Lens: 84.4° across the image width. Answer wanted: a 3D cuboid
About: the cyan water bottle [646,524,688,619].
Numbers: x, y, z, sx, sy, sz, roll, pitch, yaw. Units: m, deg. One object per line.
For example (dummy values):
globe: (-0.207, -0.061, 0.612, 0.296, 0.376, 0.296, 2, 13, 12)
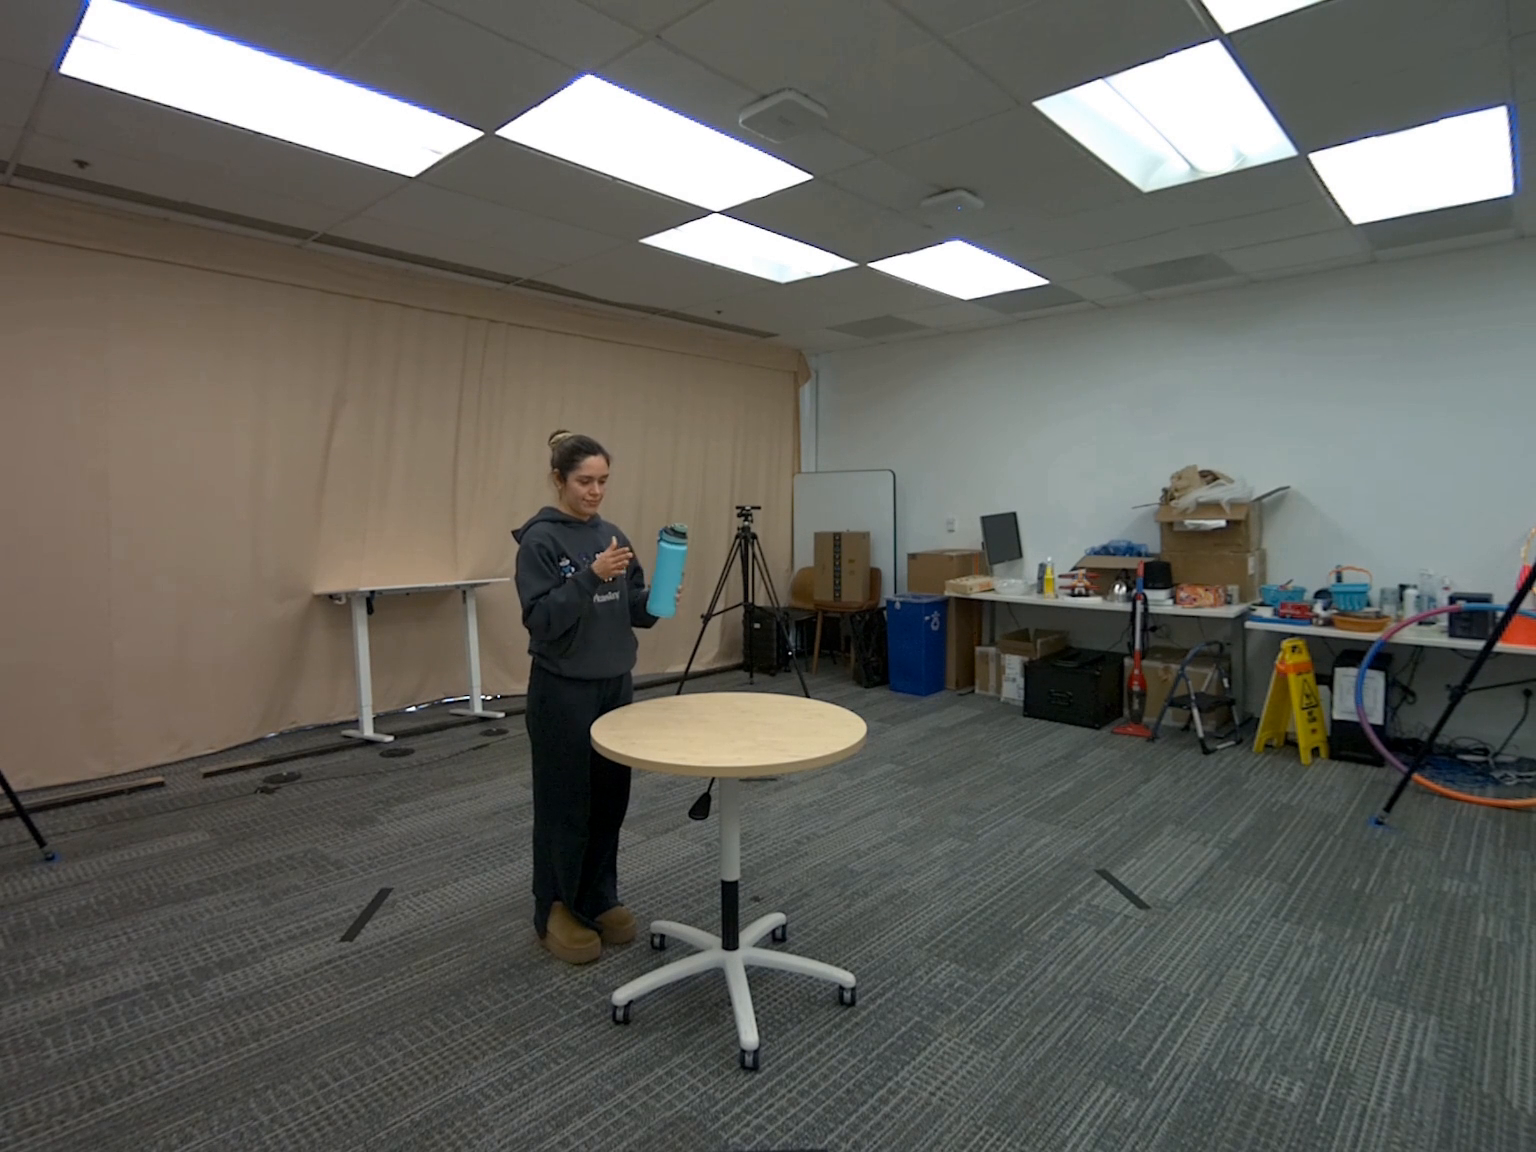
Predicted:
cyan water bottle: (-0.304, -0.017, 2.561, 0.092, 0.282, 0.093, 9, 11, -4)
